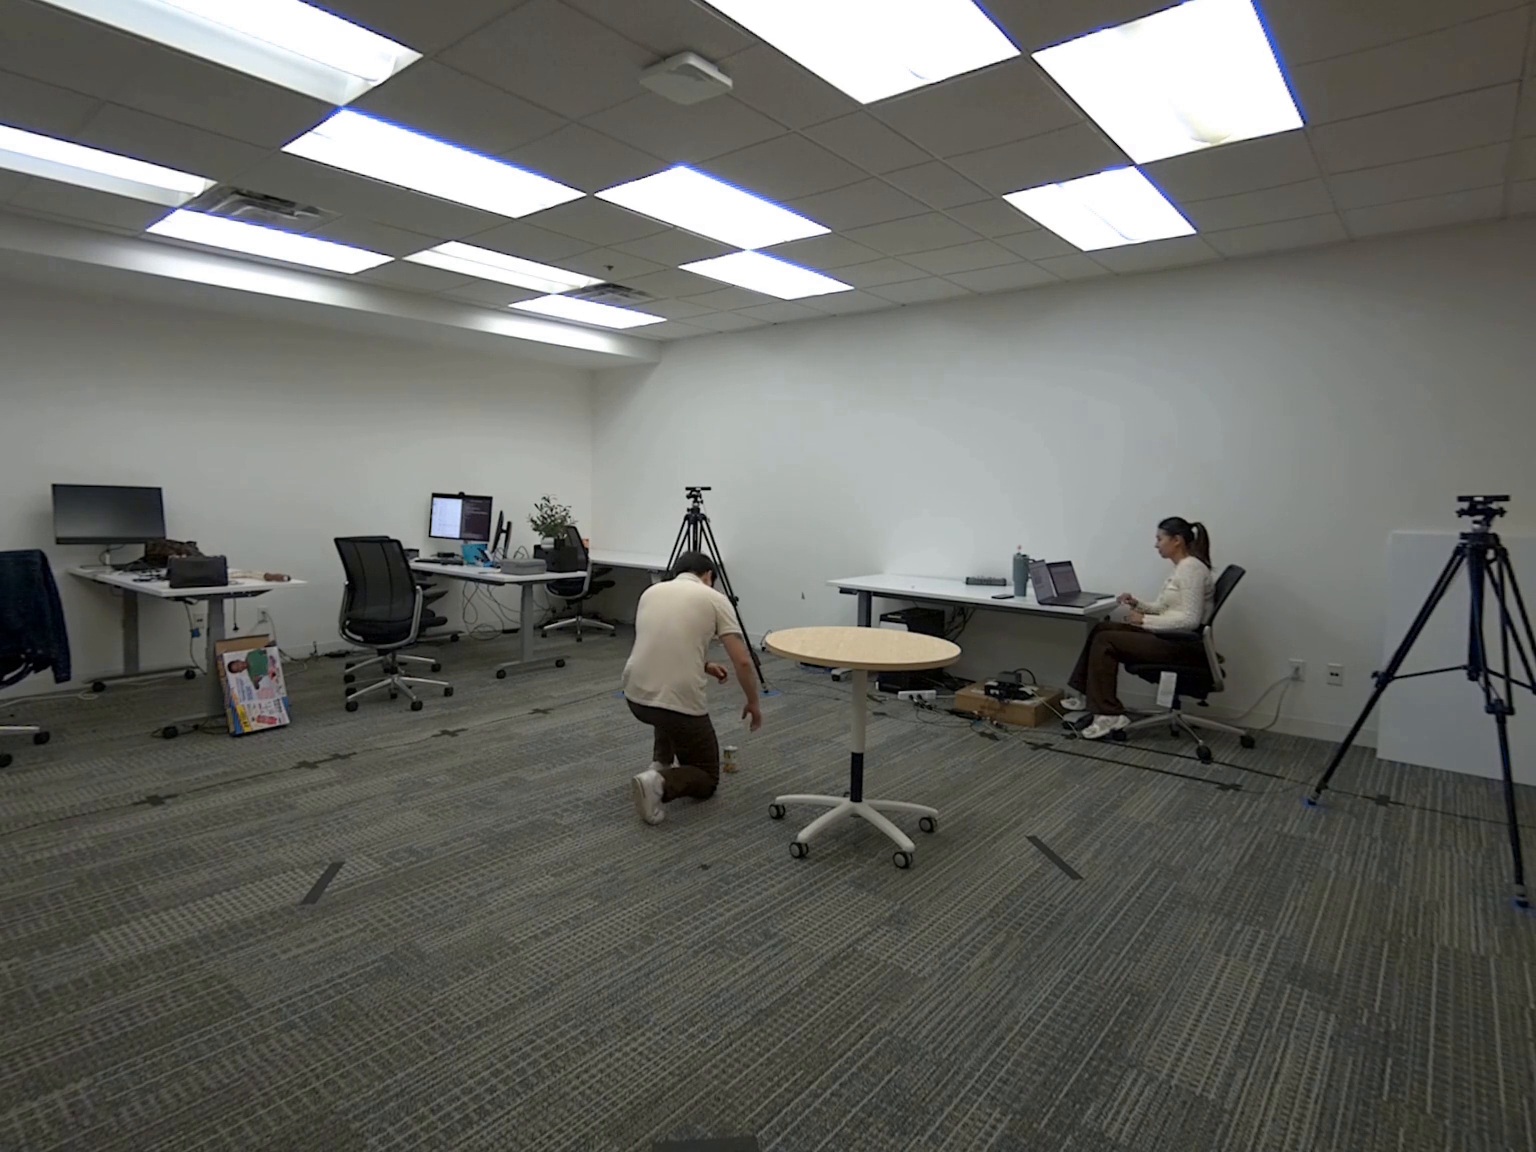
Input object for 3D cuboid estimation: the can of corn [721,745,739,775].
[{"bbox_3d":[-0.196,0.906,4.204,0.074,0.111,0.074,0,2,-2],"label":"can of corn"}]
